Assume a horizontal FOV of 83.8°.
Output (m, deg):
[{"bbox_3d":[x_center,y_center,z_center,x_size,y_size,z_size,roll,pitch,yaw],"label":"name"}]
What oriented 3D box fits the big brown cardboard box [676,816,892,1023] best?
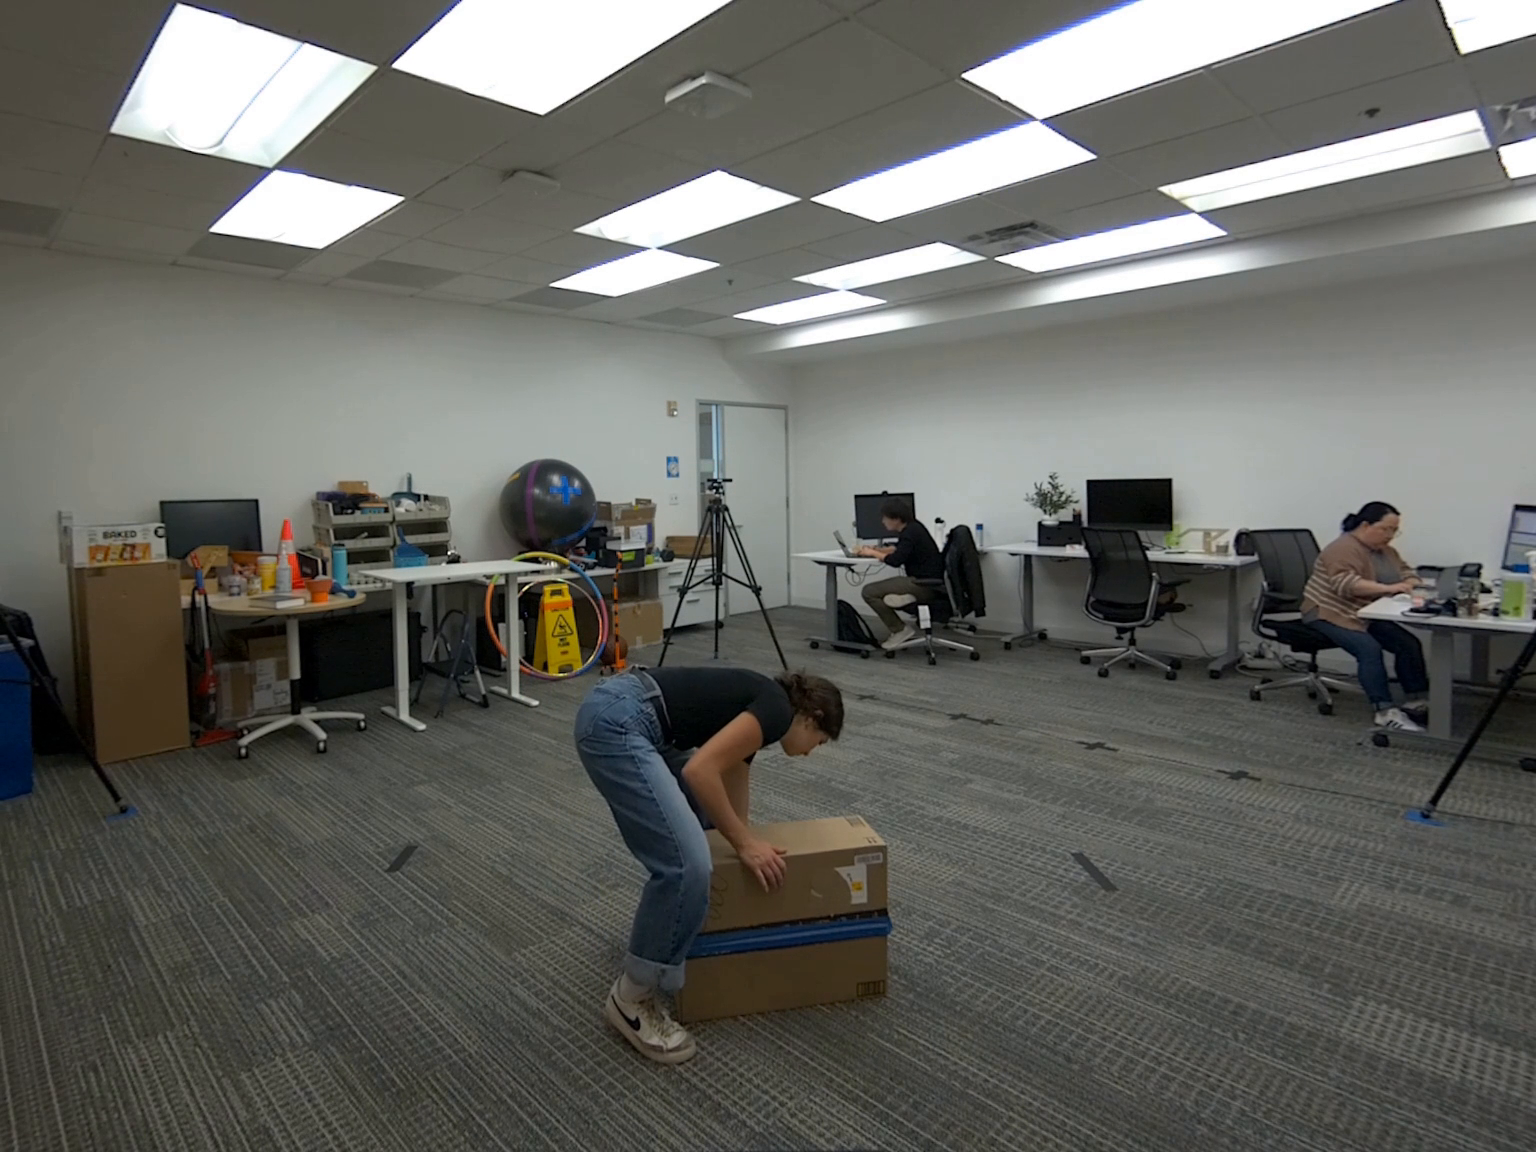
[{"bbox_3d":[0.034,0.923,2.340,0.584,0.416,0.236,-3,4,-10],"label":"big brown cardboard box"}]
